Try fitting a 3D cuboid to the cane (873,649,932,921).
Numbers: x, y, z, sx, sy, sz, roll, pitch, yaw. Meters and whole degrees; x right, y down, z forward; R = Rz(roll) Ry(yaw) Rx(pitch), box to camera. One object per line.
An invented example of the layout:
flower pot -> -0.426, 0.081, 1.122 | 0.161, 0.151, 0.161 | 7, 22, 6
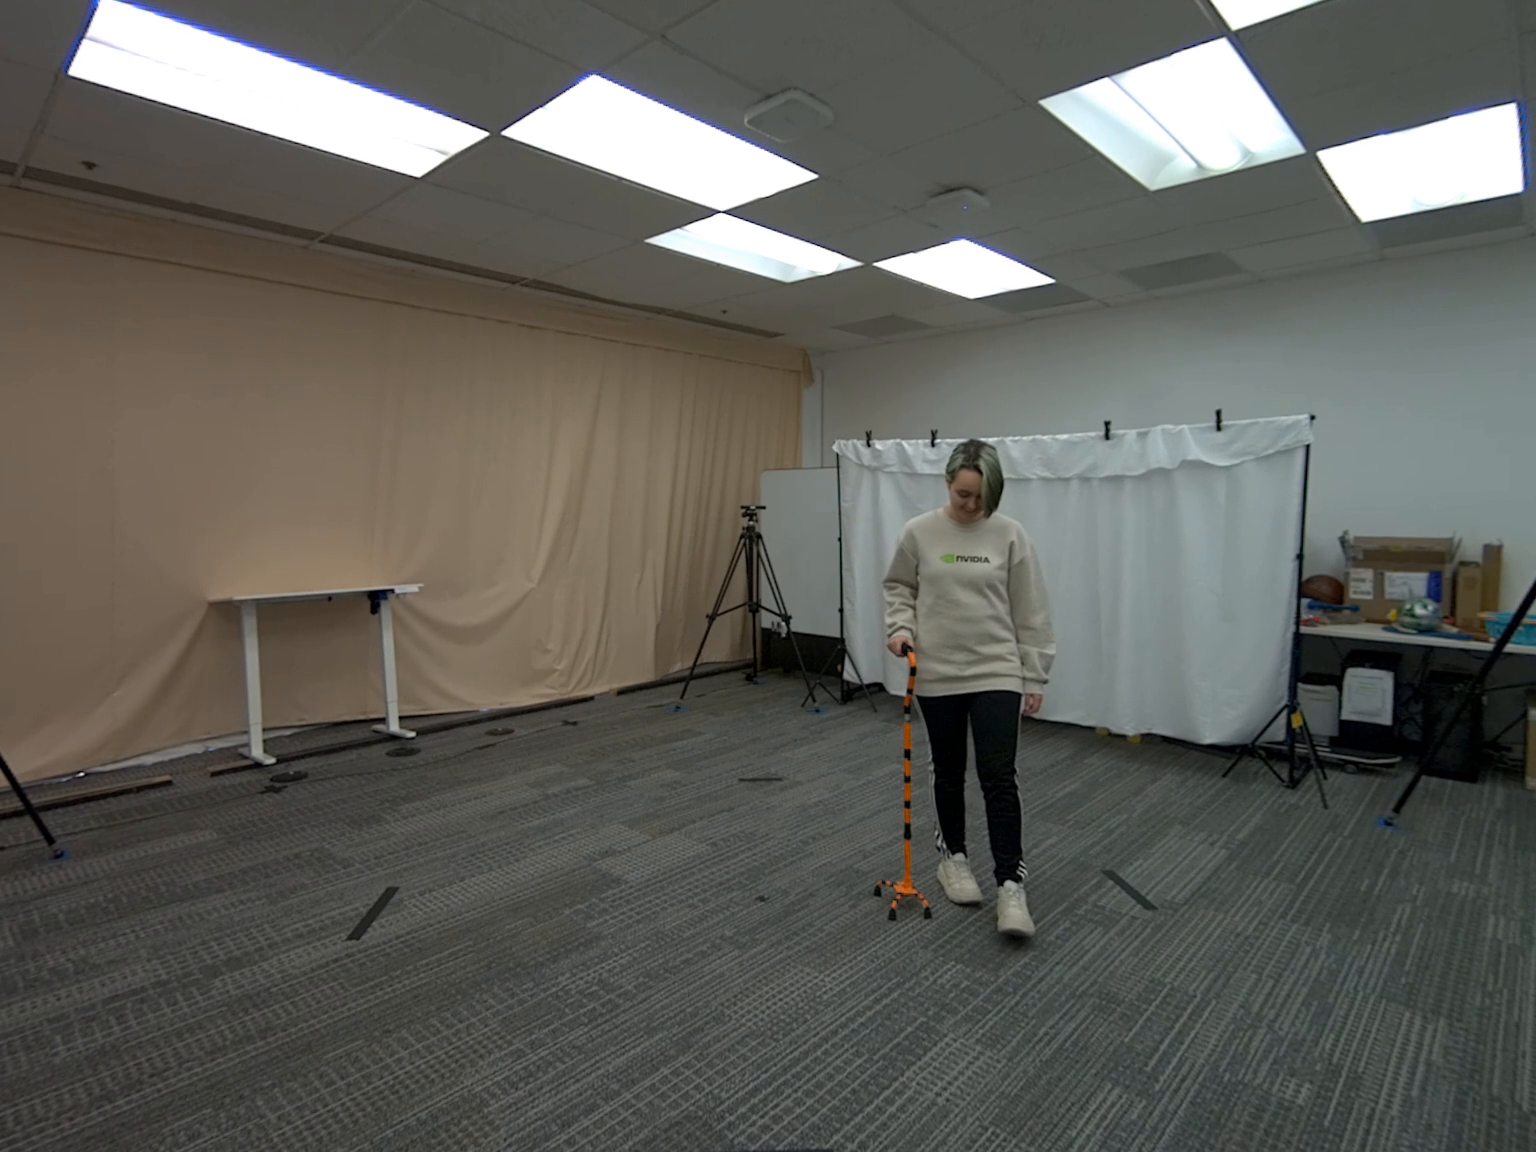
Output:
cane -> 0.466, 0.701, 2.896 | 0.150, 0.905, 0.209 | -1, 4, -9
